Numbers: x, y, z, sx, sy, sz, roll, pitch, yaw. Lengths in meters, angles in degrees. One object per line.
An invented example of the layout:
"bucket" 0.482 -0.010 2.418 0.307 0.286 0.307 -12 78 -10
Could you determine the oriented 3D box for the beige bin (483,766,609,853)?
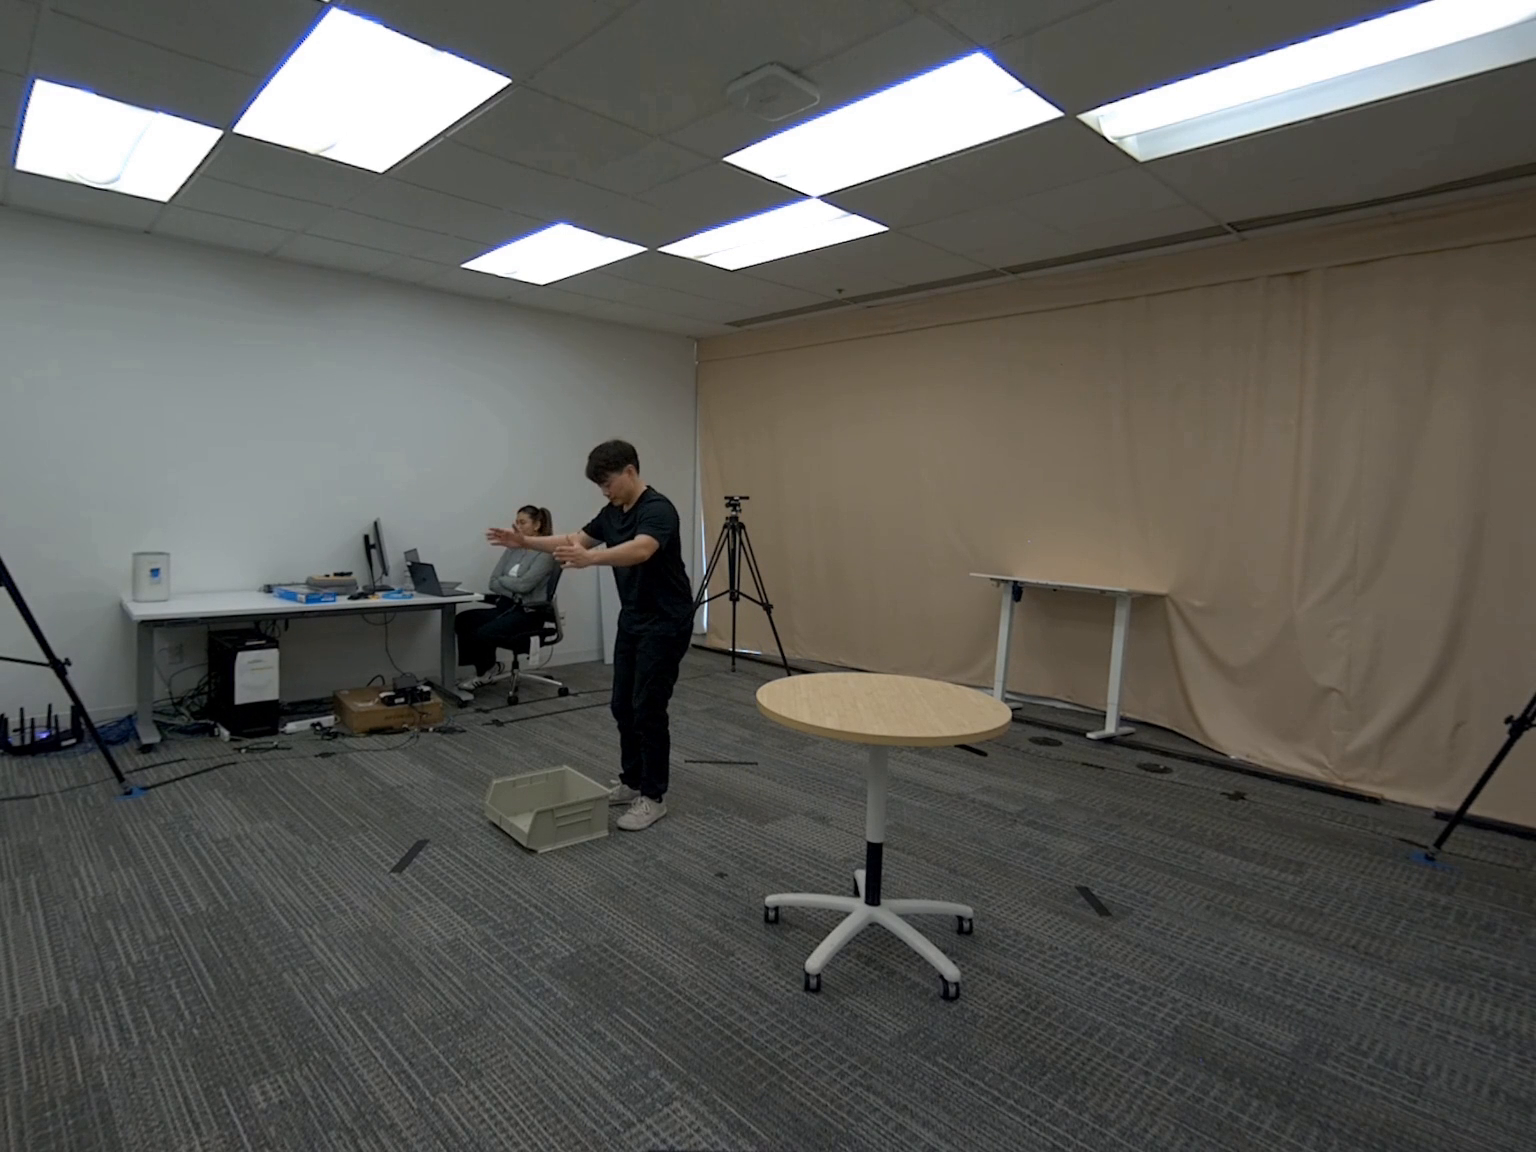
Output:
"beige bin" -0.921 0.964 3.492 0.369 0.188 0.433 -2 5 -40
